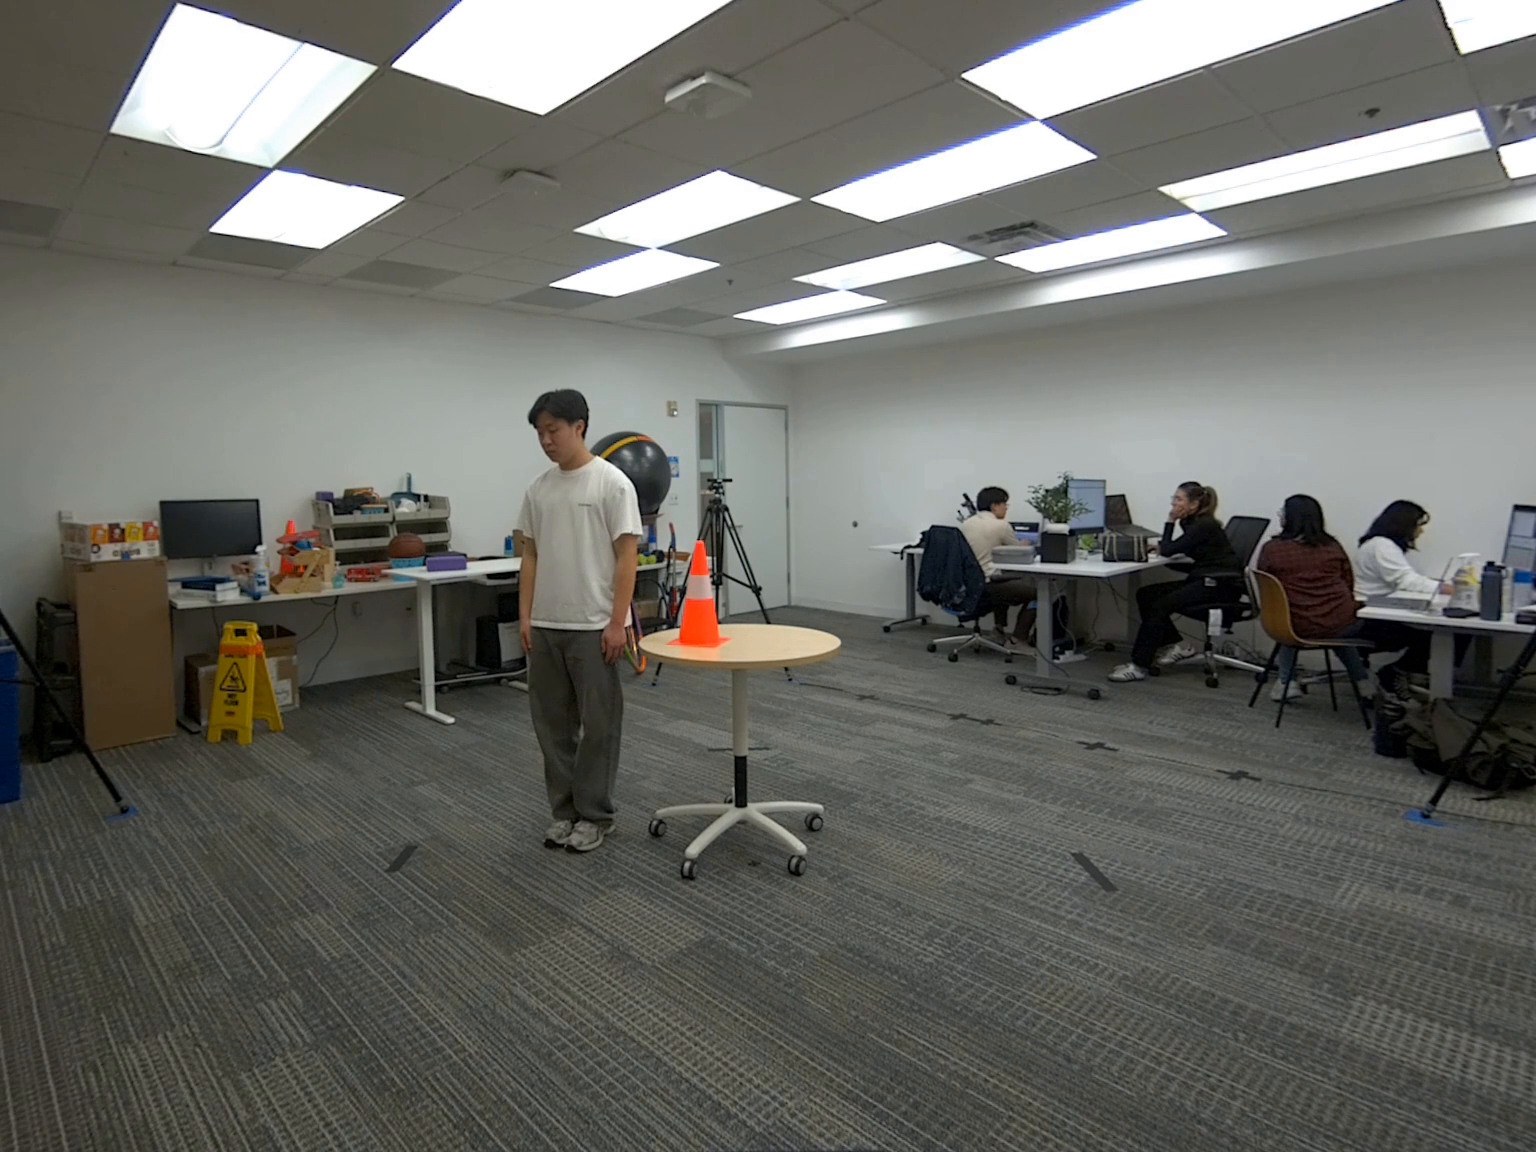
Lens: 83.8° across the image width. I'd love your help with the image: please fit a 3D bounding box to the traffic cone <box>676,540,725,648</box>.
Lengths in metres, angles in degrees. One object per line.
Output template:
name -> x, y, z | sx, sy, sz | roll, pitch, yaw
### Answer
traffic cone -> -0.270, 0.065, 3.219 | 0.207, 0.381, 0.202 | -1, 7, 19
